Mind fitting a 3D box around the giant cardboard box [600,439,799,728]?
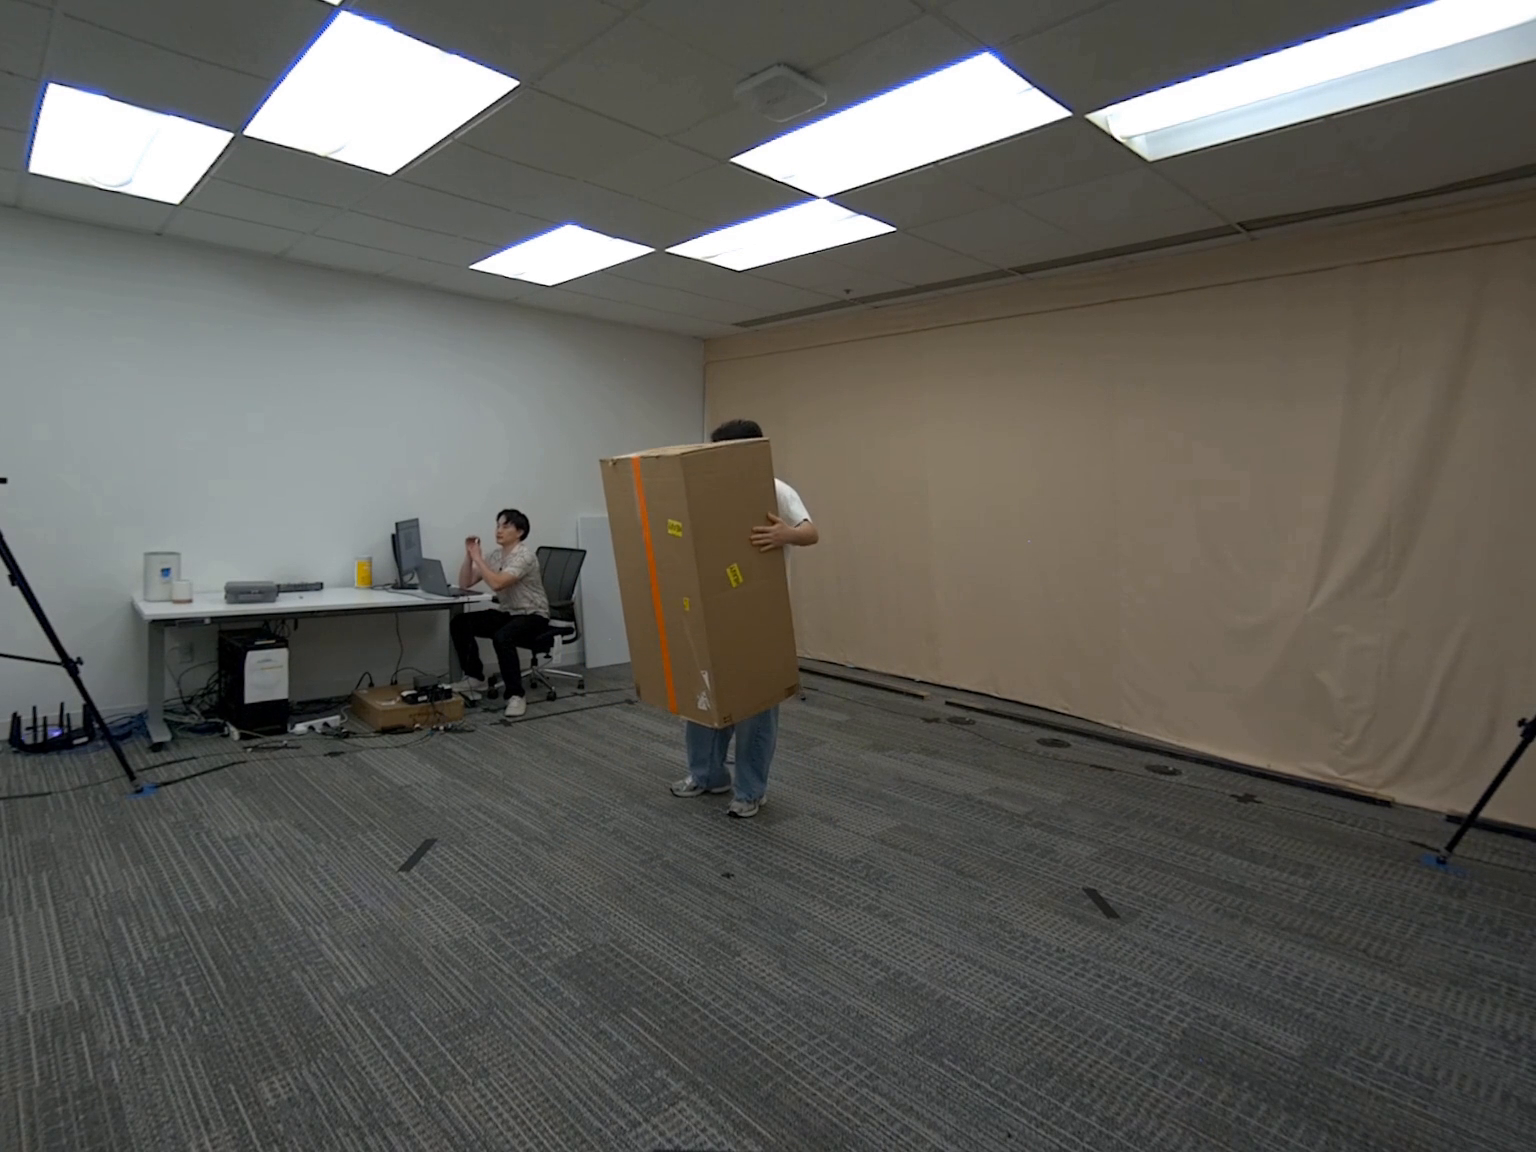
[{"bbox_3d":[-0.289,0.003,3.347,0.419,1.018,0.592,-15,12,-38],"label":"giant cardboard box"}]
